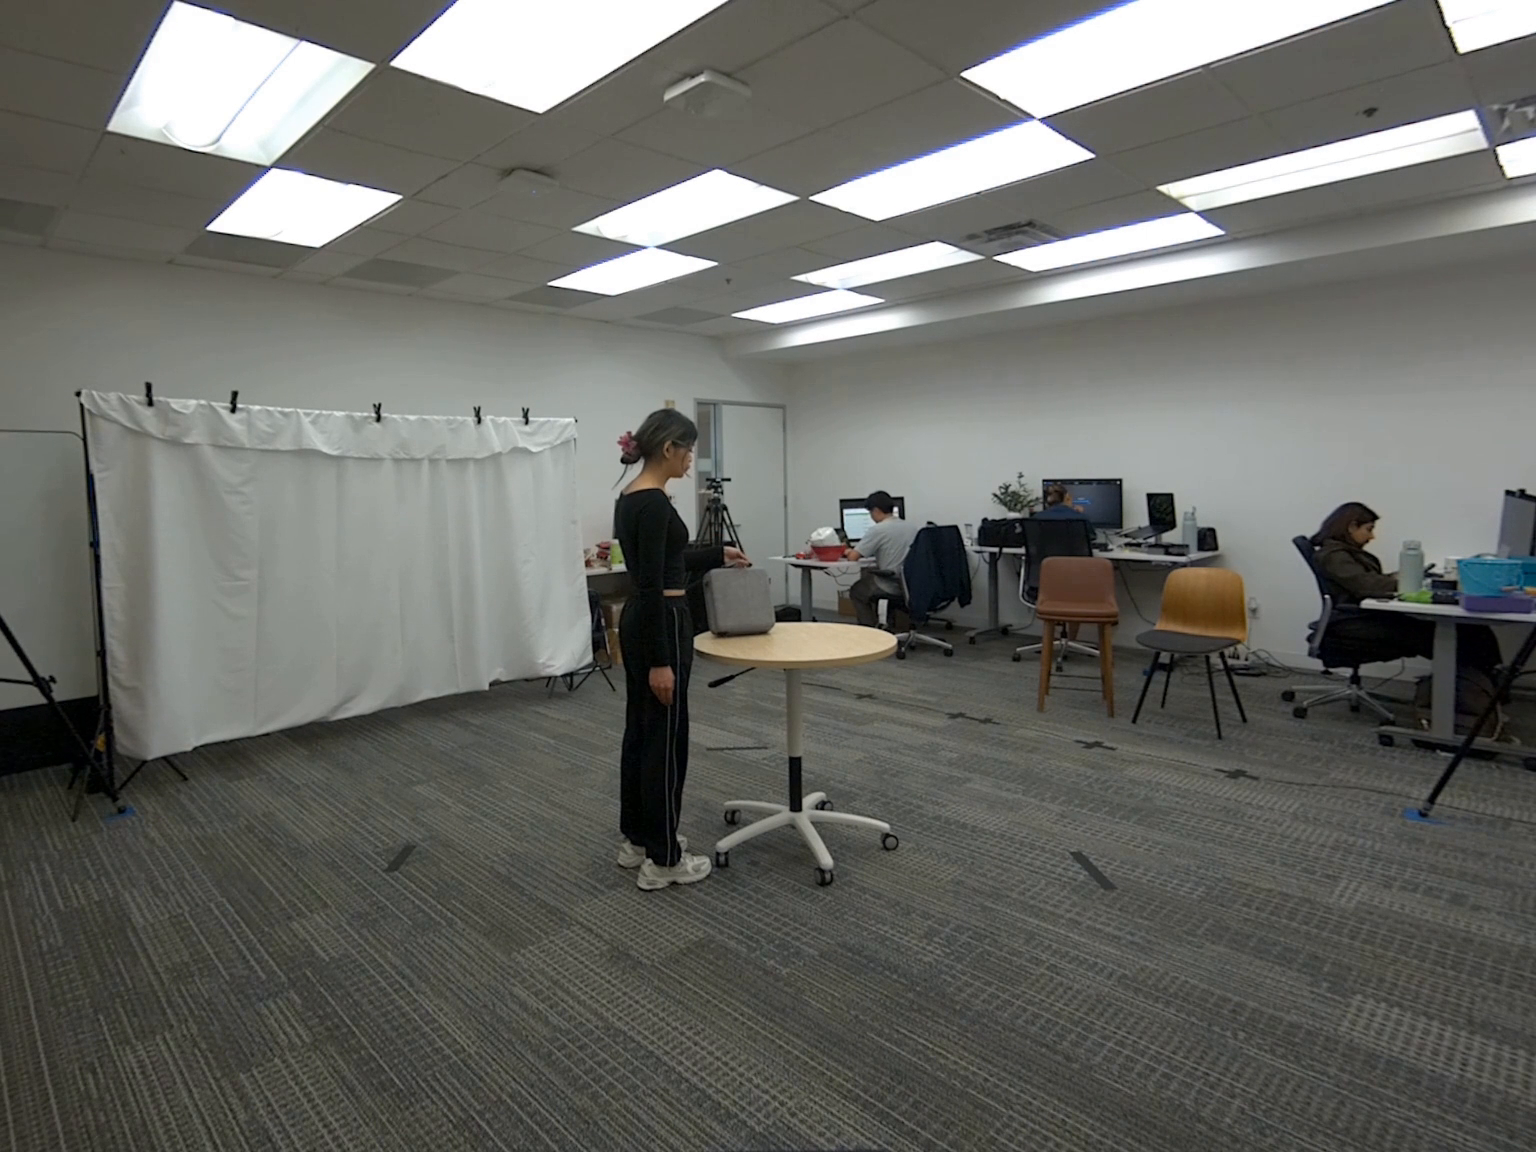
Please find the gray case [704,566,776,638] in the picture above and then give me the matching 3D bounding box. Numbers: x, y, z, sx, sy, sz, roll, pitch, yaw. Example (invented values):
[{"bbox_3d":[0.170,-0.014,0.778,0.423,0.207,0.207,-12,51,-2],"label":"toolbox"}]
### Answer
[{"bbox_3d":[-0.107,0.093,3.330,0.253,0.264,0.104,-4,-15,-18],"label":"gray case"}]
